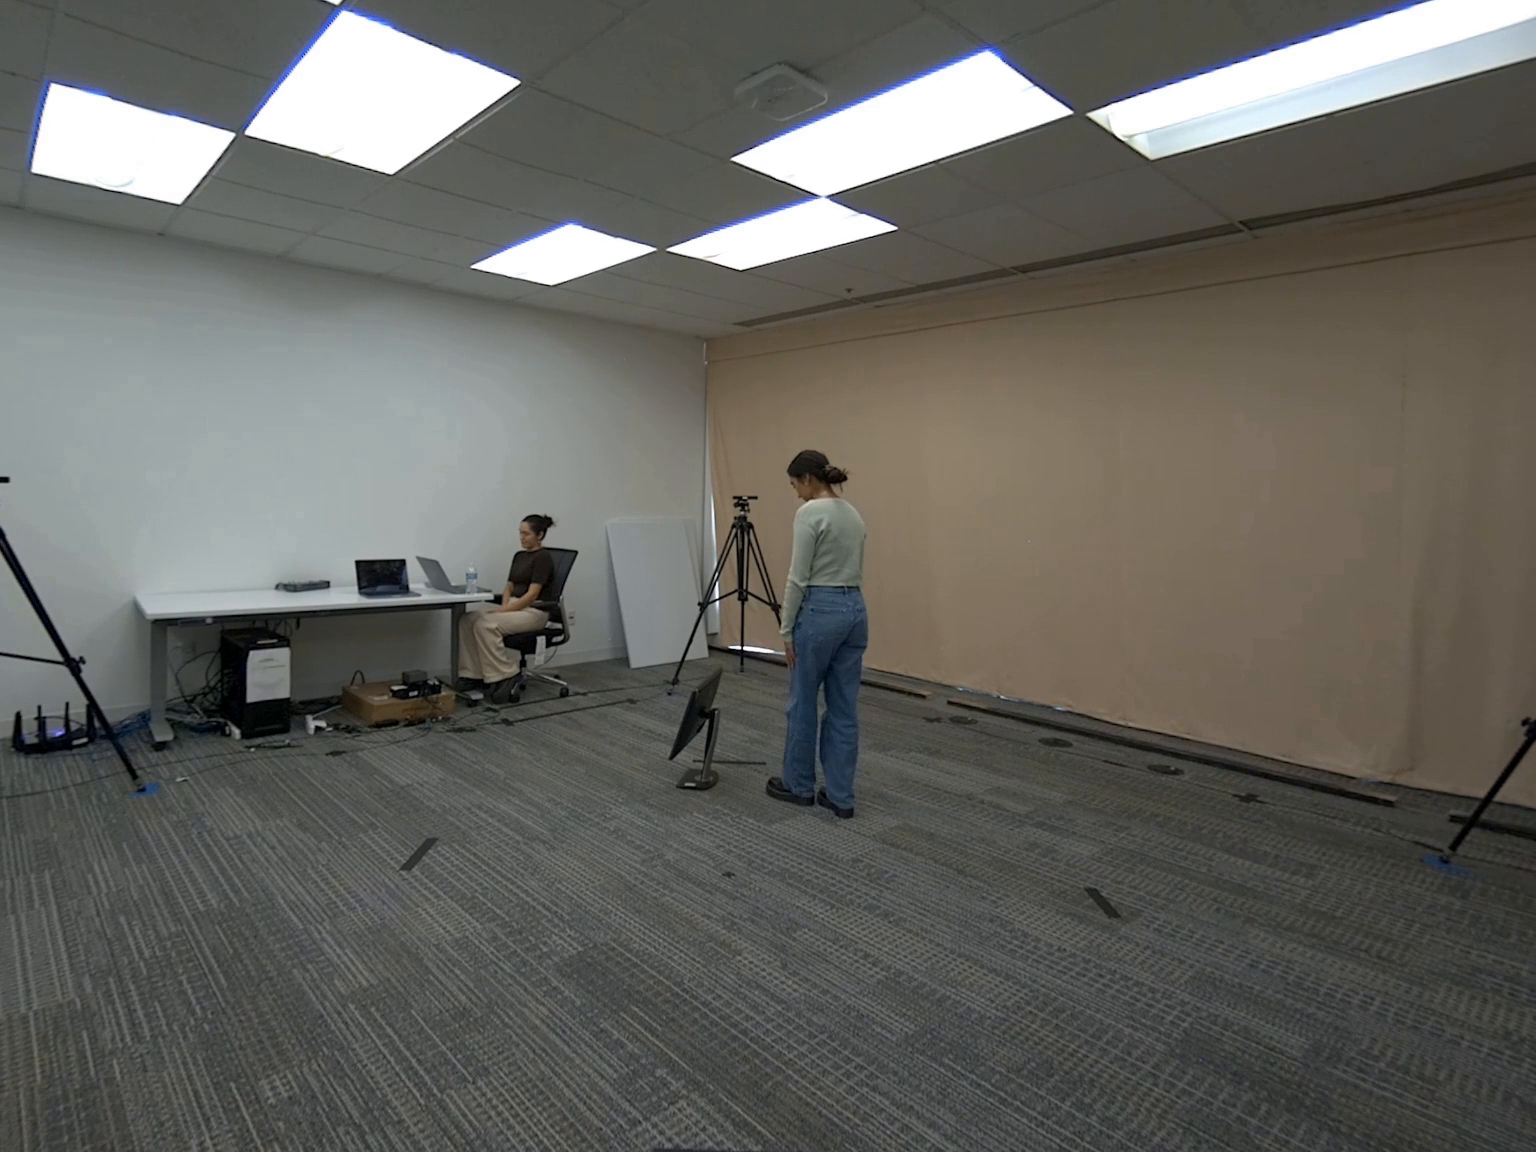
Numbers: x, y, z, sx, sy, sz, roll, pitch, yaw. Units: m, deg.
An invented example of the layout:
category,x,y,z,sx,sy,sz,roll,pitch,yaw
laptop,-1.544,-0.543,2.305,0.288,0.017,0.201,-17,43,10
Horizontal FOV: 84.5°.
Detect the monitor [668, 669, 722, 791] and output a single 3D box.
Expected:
category,x,y,z,sx,sy,sz,roll,pitch,yaw
monitor,-0.334,0.741,4.135,0.176,0.514,0.527,1,5,10
